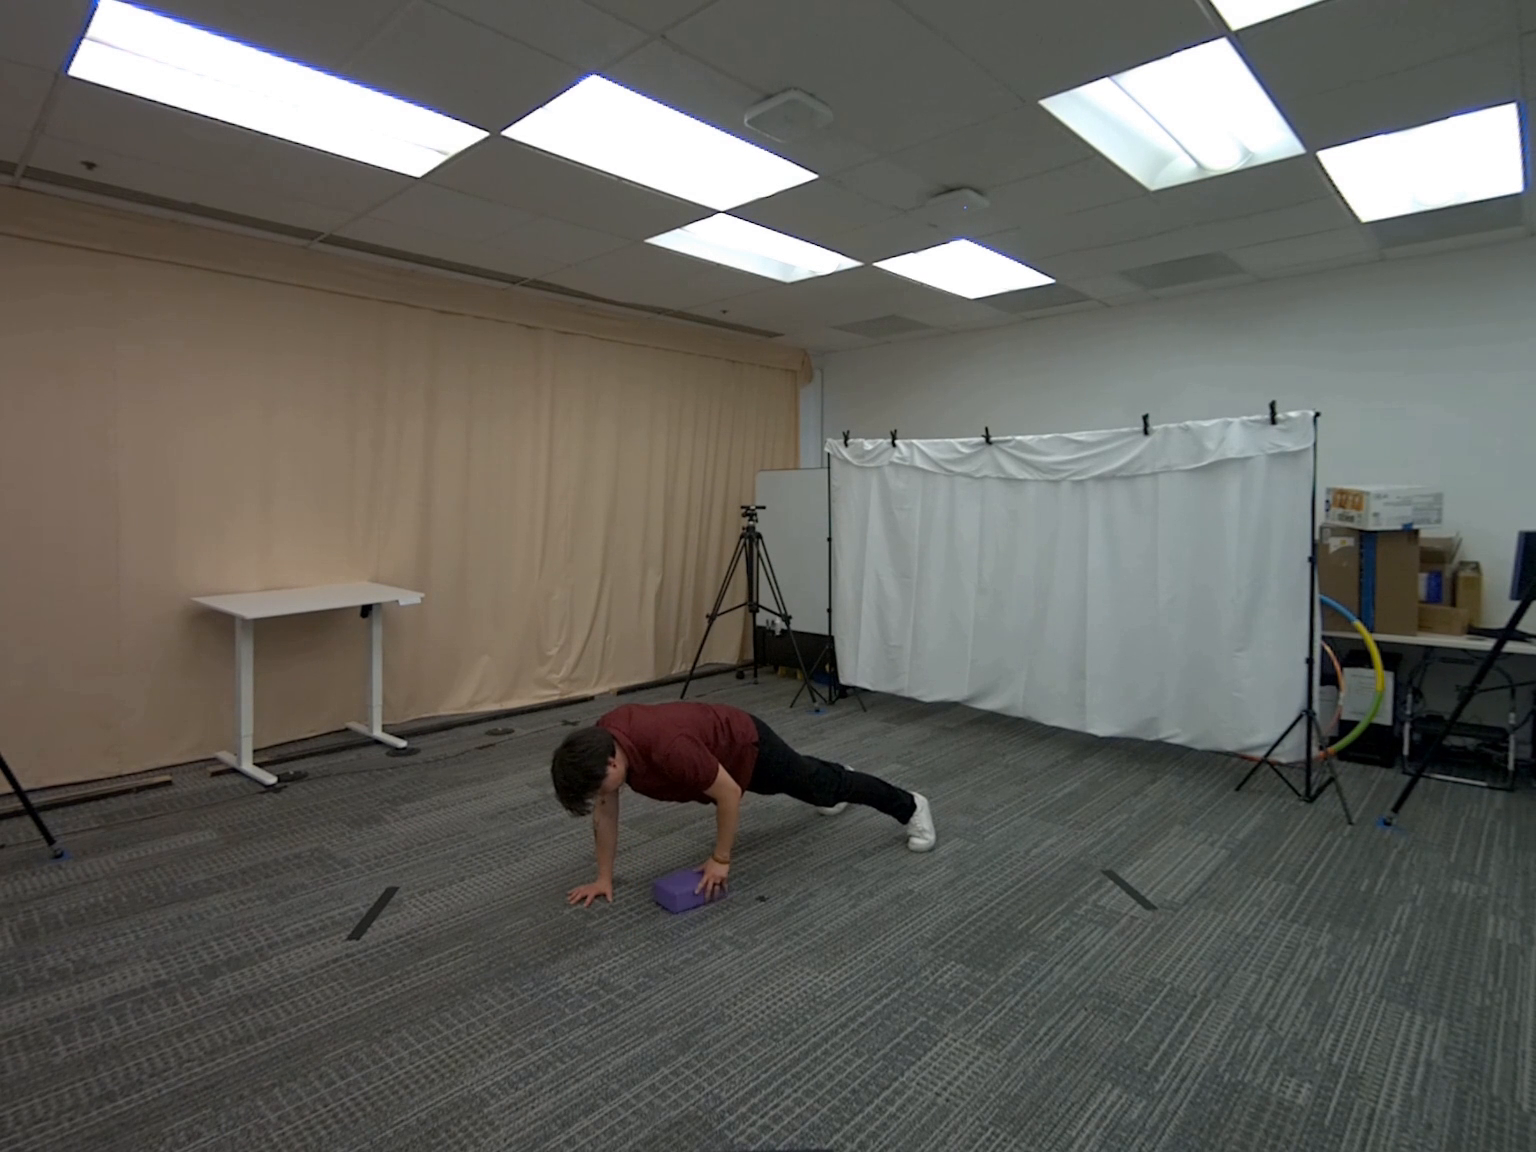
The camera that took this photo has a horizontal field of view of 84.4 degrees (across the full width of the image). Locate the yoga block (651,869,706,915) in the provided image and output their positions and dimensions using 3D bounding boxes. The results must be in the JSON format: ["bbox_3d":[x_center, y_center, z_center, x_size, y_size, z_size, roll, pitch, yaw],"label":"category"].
[{"bbox_3d":[-0.279,1.103,2.985,0.222,0.076,0.154,-3,6,-38],"label":"yoga block"}]
